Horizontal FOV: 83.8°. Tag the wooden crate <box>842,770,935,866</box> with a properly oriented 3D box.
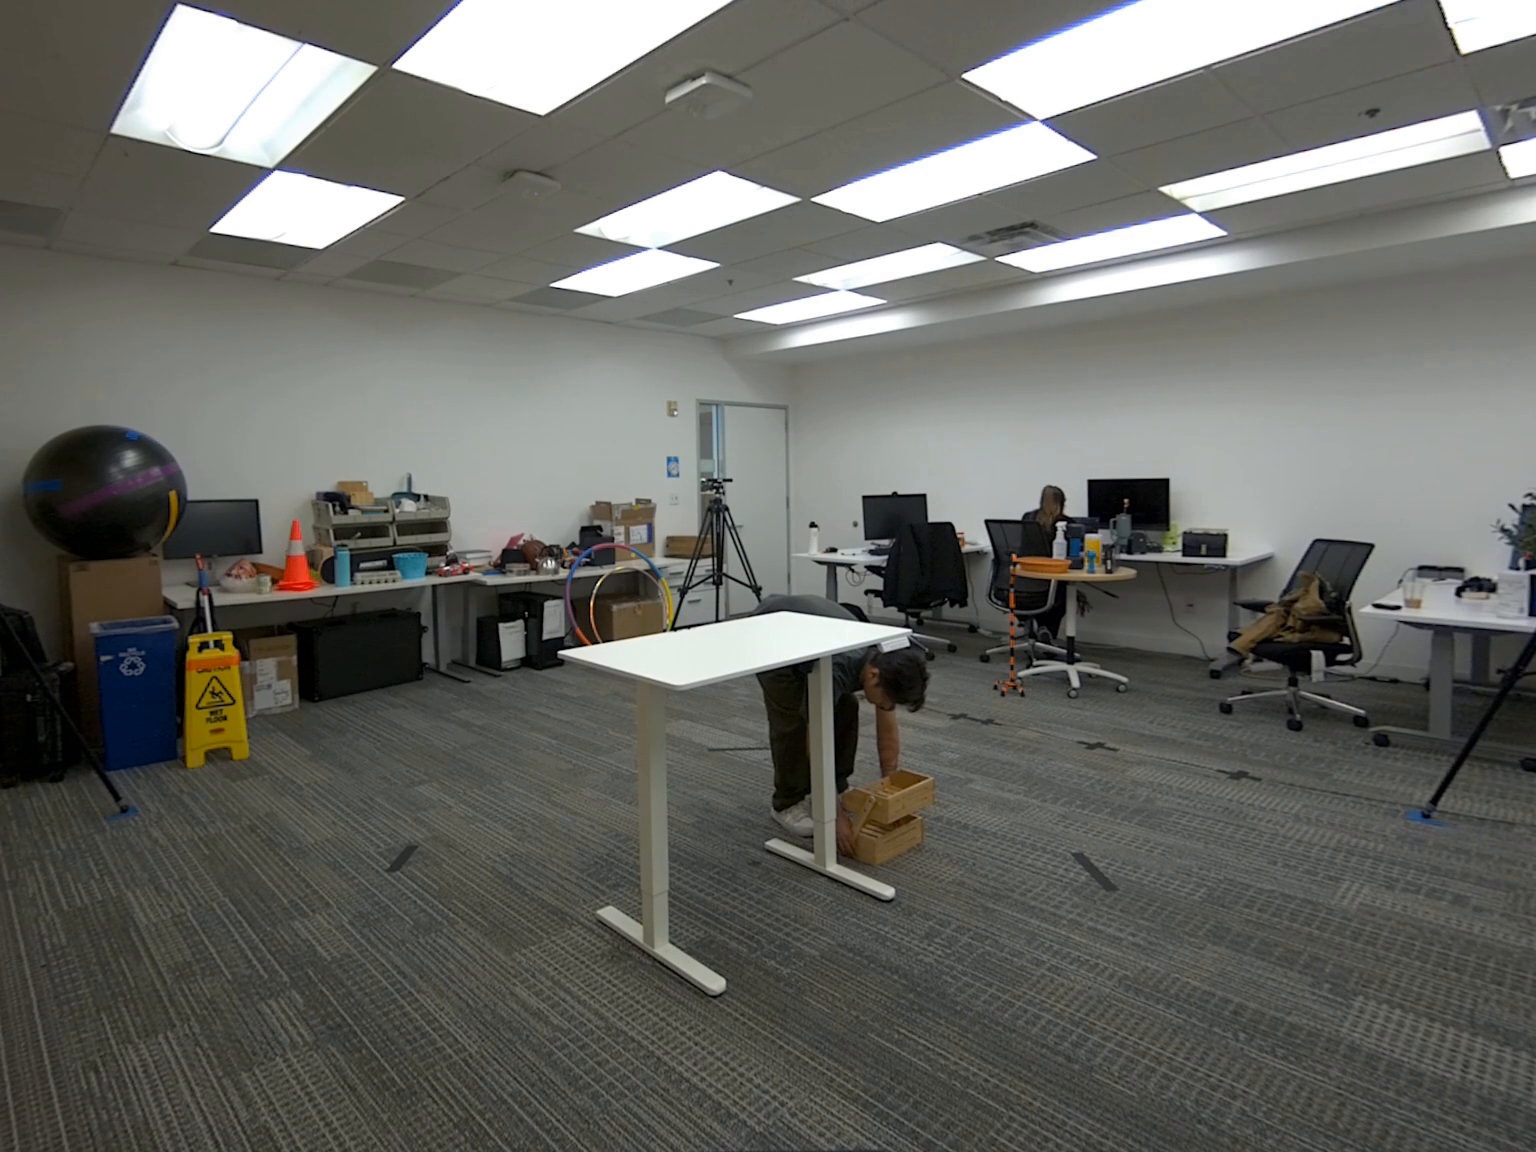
[{"bbox_3d":[0.414,0.892,3.237,0.316,0.272,0.311,-6,7,-44],"label":"wooden crate"}]
